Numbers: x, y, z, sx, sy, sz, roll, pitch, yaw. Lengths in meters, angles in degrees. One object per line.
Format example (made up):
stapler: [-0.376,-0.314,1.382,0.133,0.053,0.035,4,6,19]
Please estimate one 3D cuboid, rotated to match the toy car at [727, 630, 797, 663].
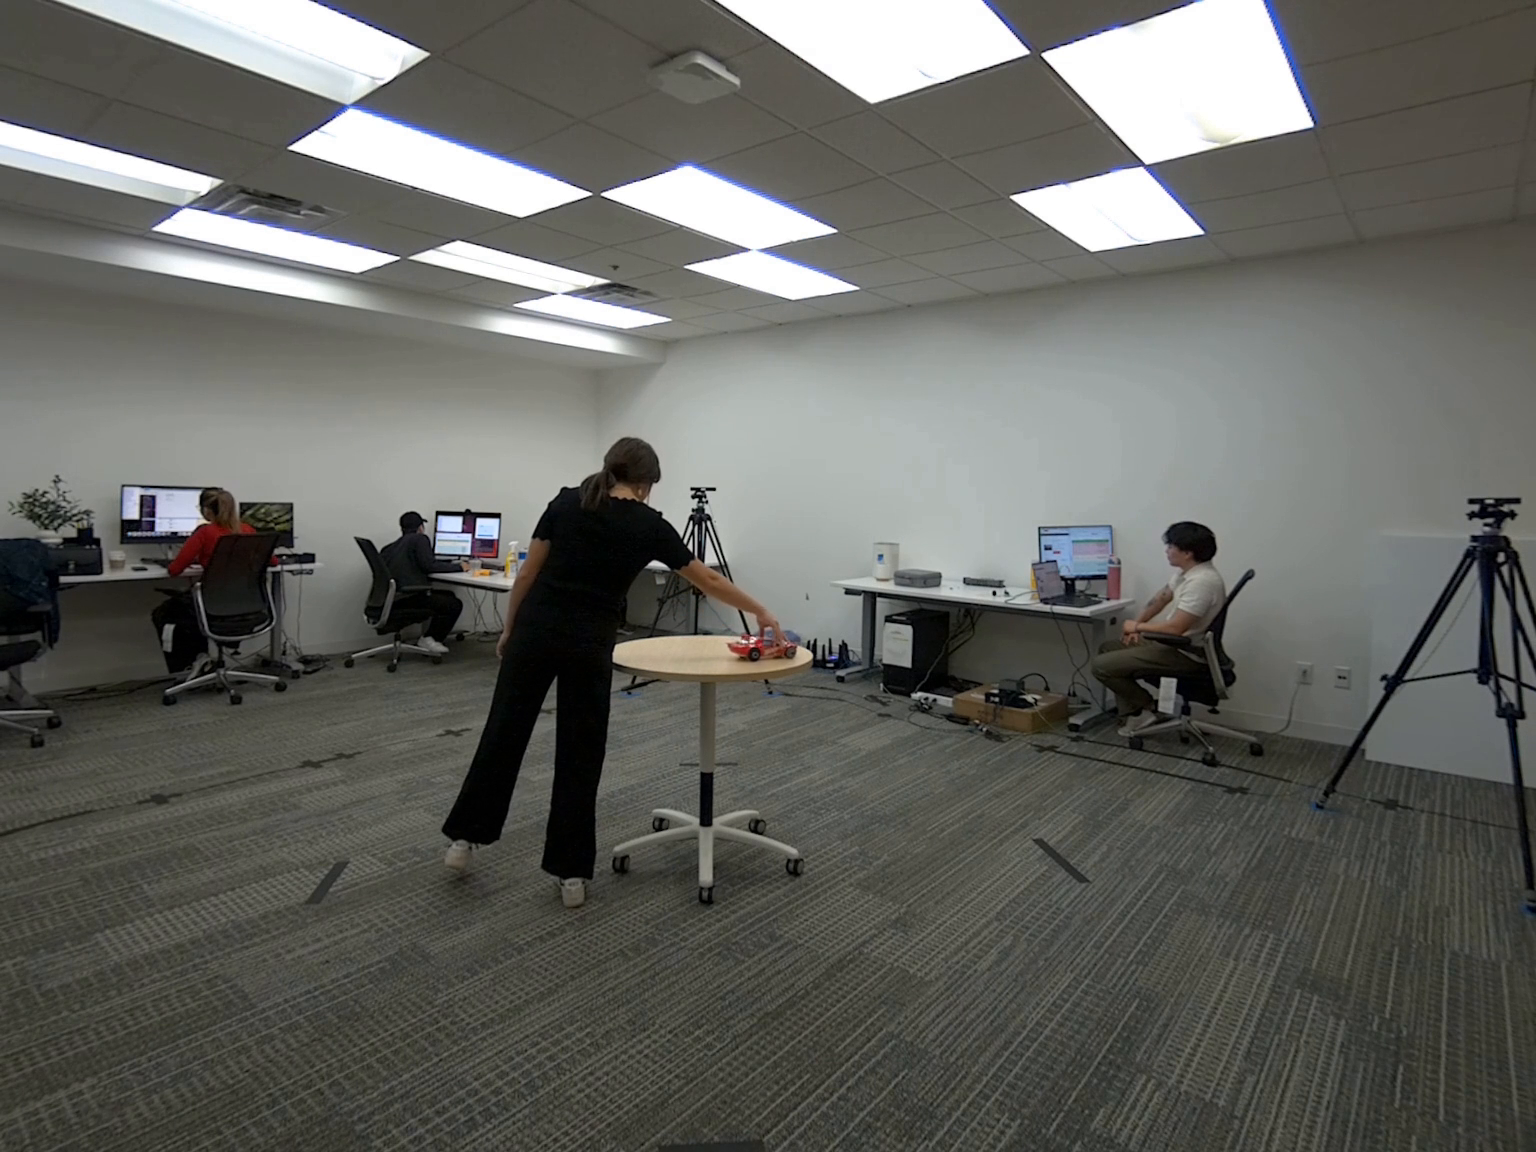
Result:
toy car: [-0.040,0.260,3.040,0.248,0.083,0.133,11,-2,-24]
